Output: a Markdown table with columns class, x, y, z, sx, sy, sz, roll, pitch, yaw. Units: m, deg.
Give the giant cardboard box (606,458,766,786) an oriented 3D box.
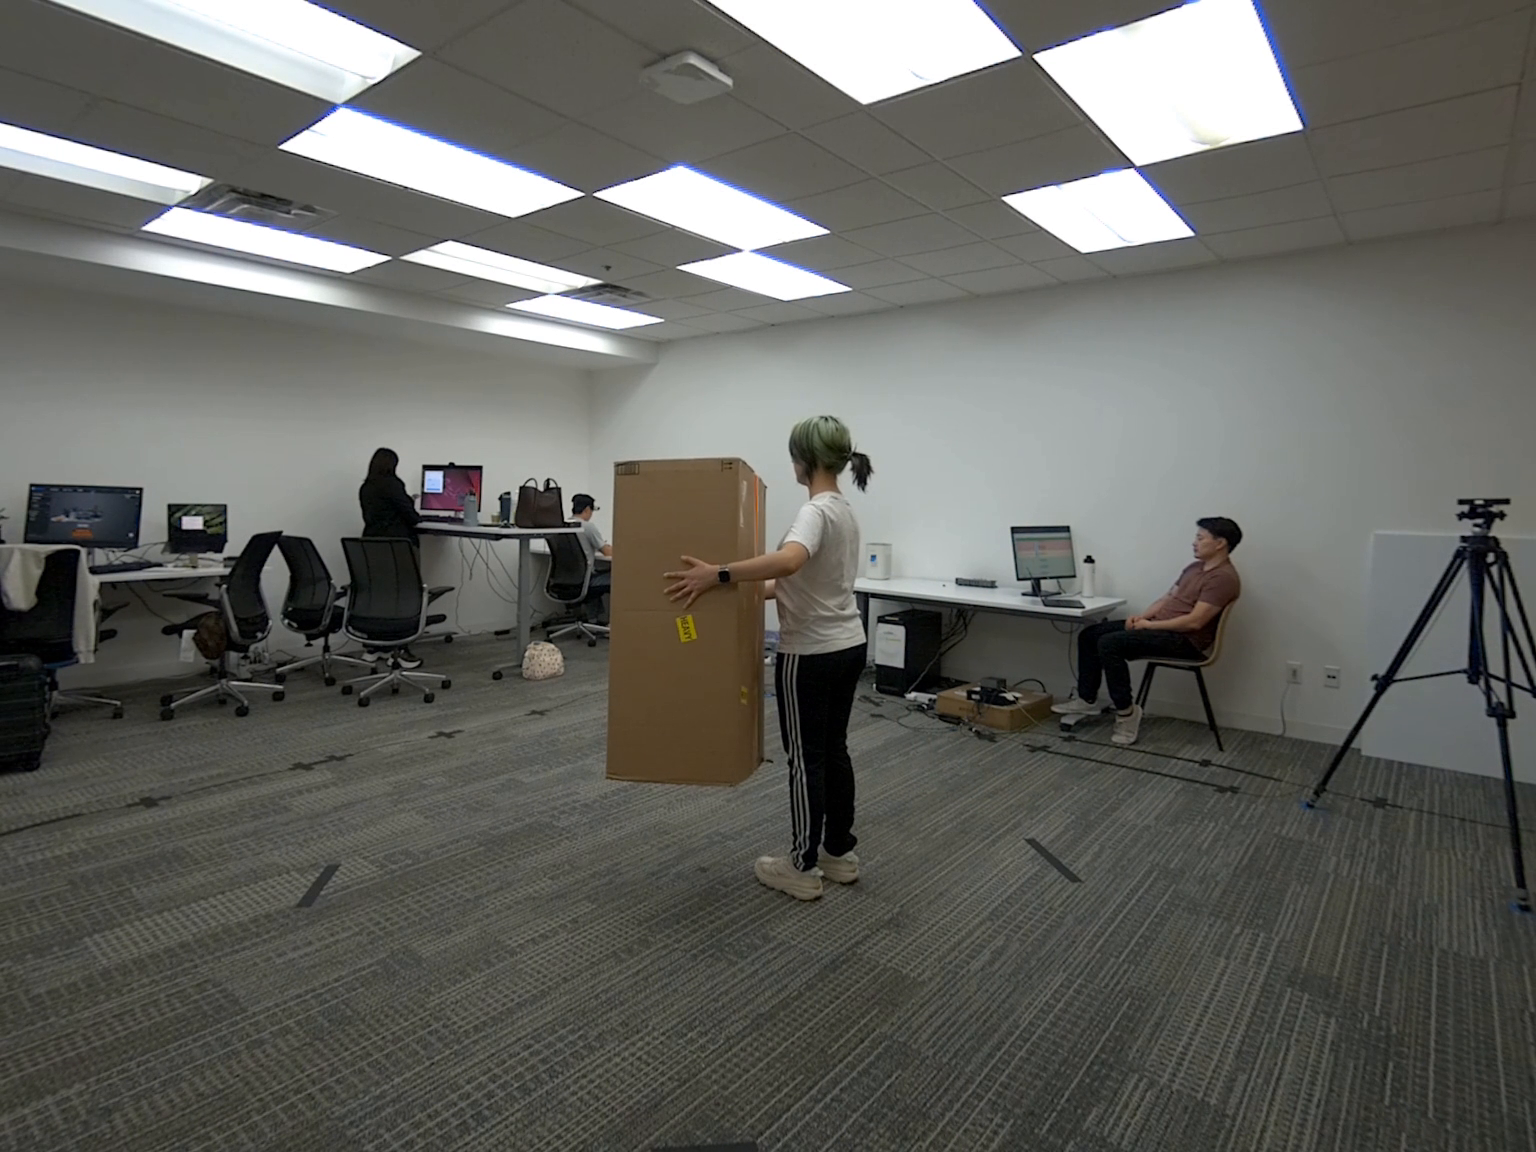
| class | x | y | z | sx | sy | sz | roll | pitch | yaw |
| --- | --- | --- | --- | --- | --- | --- | --- | --- | --- |
| giant cardboard box | -0.267 | 0.149 | 2.970 | 0.432 | 1.032 | 0.567 | -1 | -6 | 11 |
